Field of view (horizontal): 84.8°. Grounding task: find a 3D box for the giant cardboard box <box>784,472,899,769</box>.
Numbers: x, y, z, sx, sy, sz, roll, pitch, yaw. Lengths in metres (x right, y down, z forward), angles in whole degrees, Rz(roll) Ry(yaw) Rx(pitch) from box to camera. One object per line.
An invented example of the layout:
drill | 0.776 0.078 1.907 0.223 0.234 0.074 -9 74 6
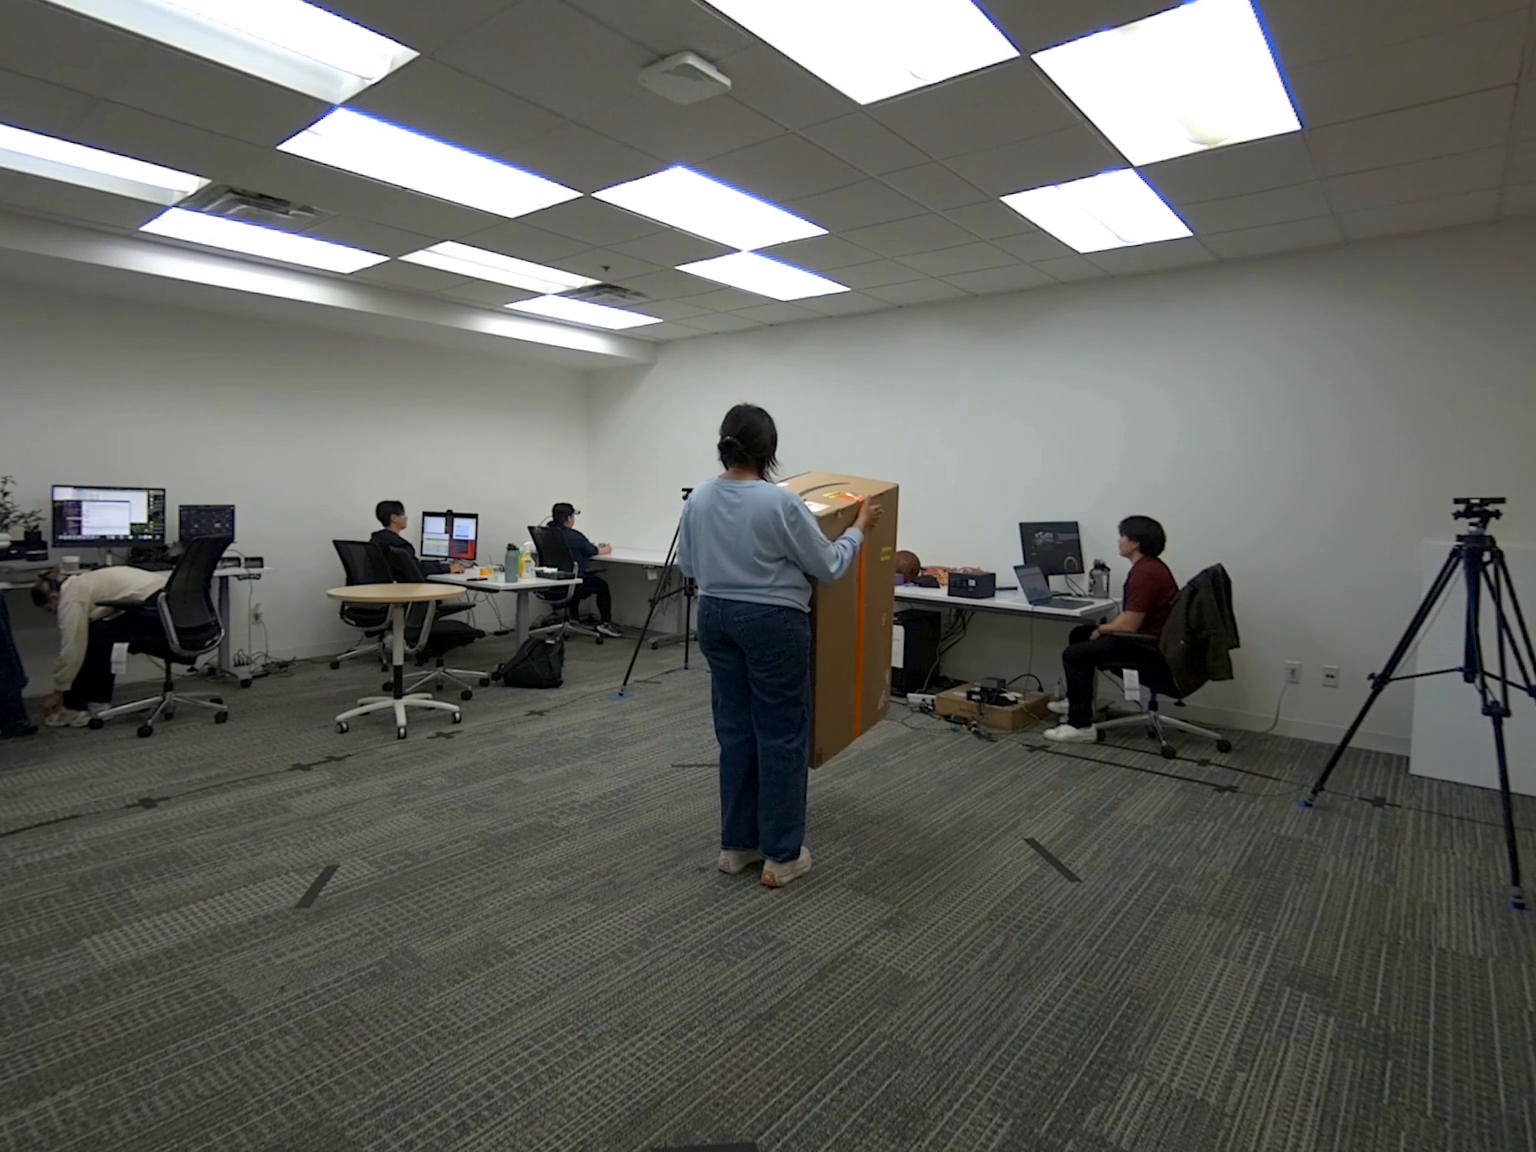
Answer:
giant cardboard box | 0.187 0.144 3.476 0.464 1.009 0.572 15 24 39
